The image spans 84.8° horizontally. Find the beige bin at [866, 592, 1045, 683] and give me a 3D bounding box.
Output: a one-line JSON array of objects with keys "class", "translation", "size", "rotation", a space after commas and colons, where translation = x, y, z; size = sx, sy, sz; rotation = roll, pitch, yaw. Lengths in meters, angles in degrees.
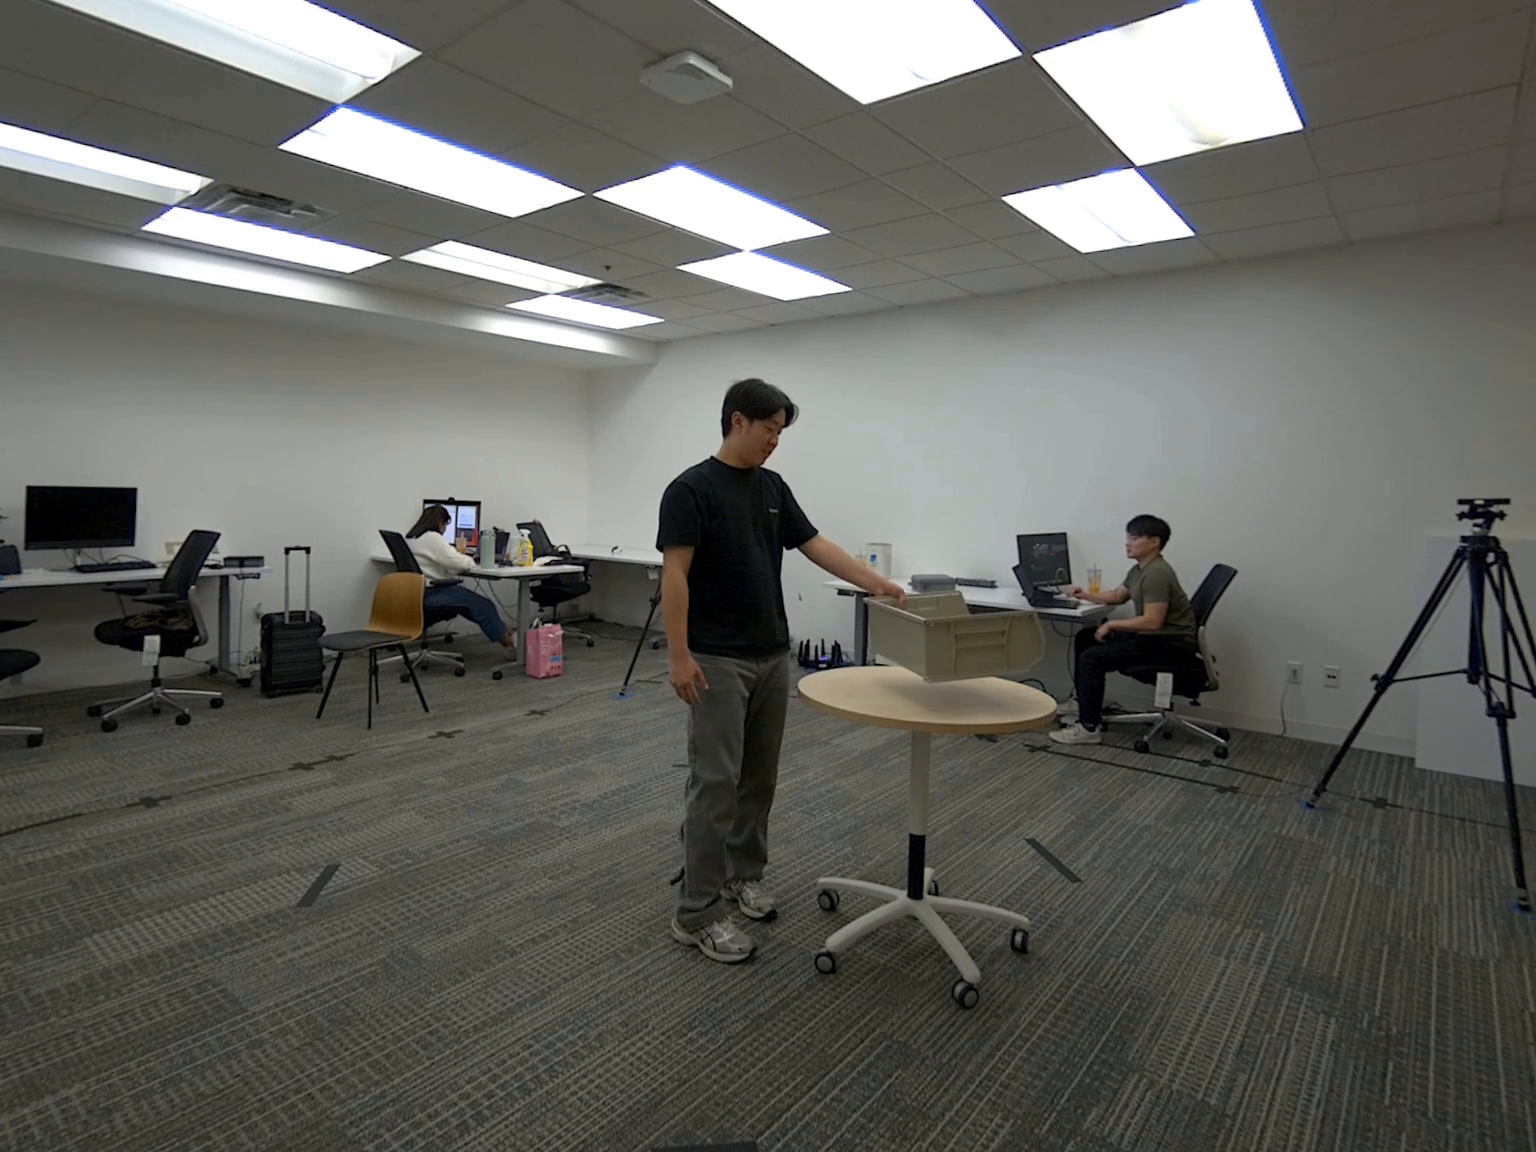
[{"class": "beige bin", "translation": [0.548, 0.183, 2.556], "size": [0.372, 0.187, 0.432], "rotation": [-4, 9, -15]}]
